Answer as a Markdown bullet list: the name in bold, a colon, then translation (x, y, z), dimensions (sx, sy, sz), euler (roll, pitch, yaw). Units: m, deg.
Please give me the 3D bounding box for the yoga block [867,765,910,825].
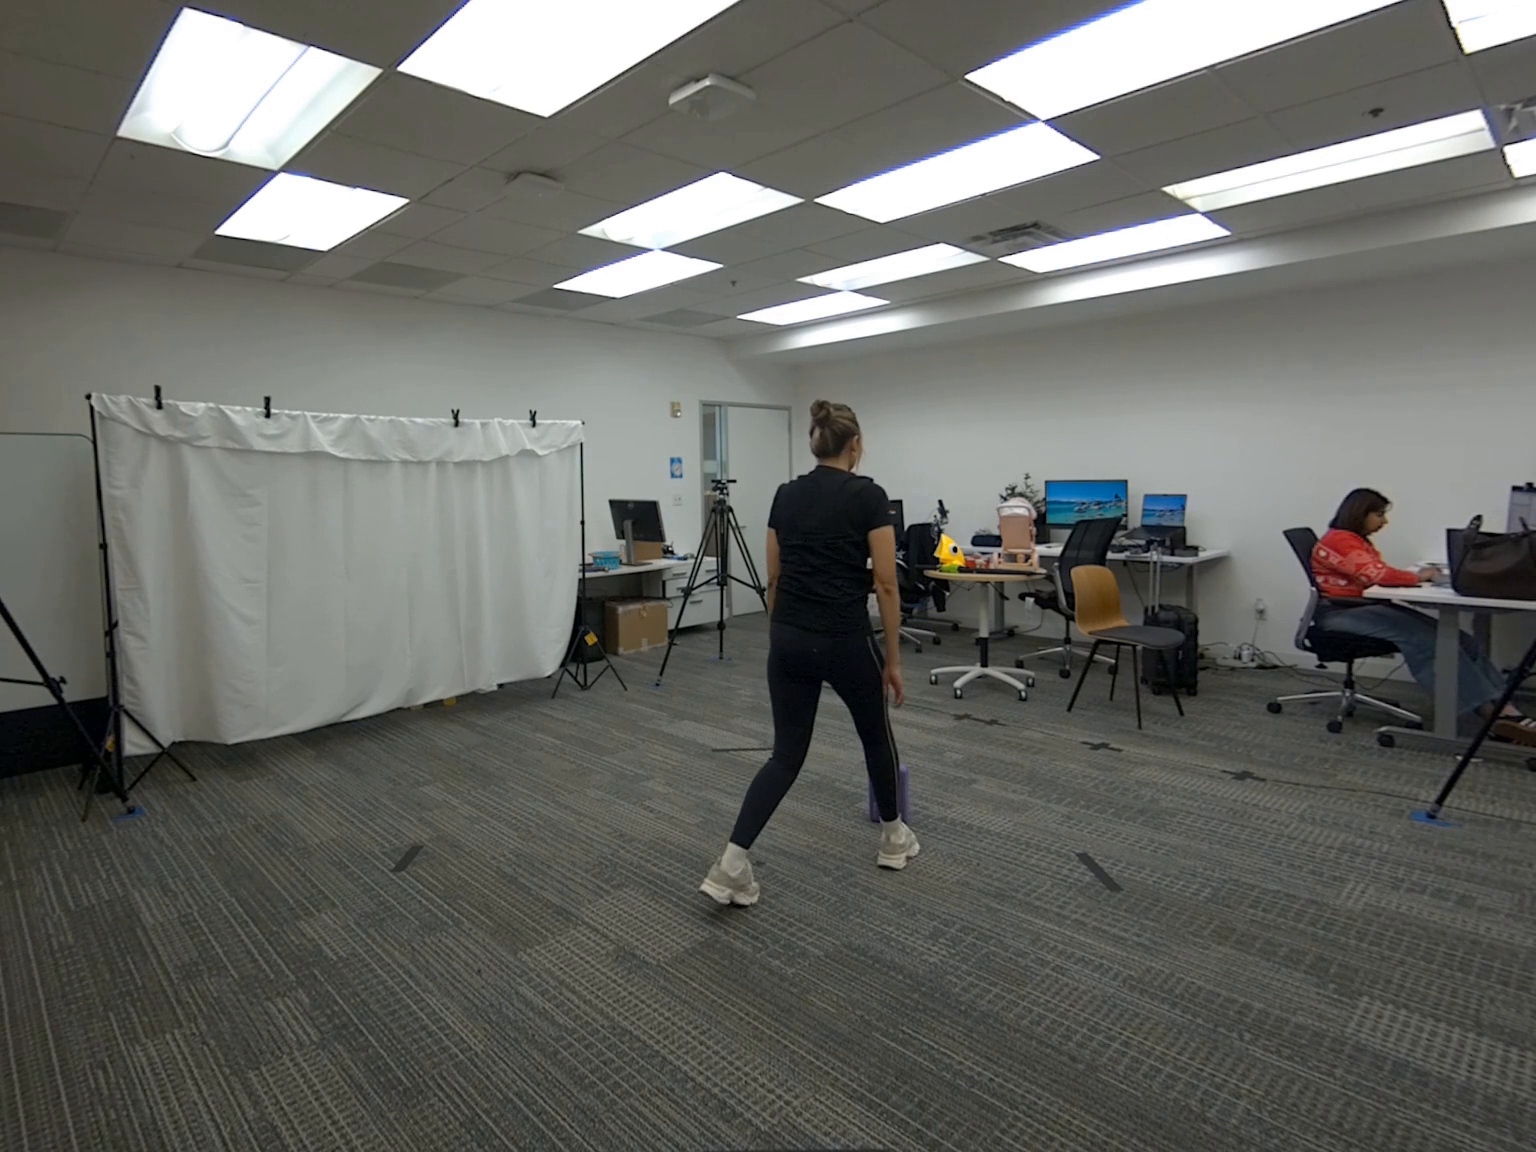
- **yoga block**: translation (0.497, 0.883, 3.472), dimensions (0.152, 0.229, 0.075), euler (1, 2, 21)
